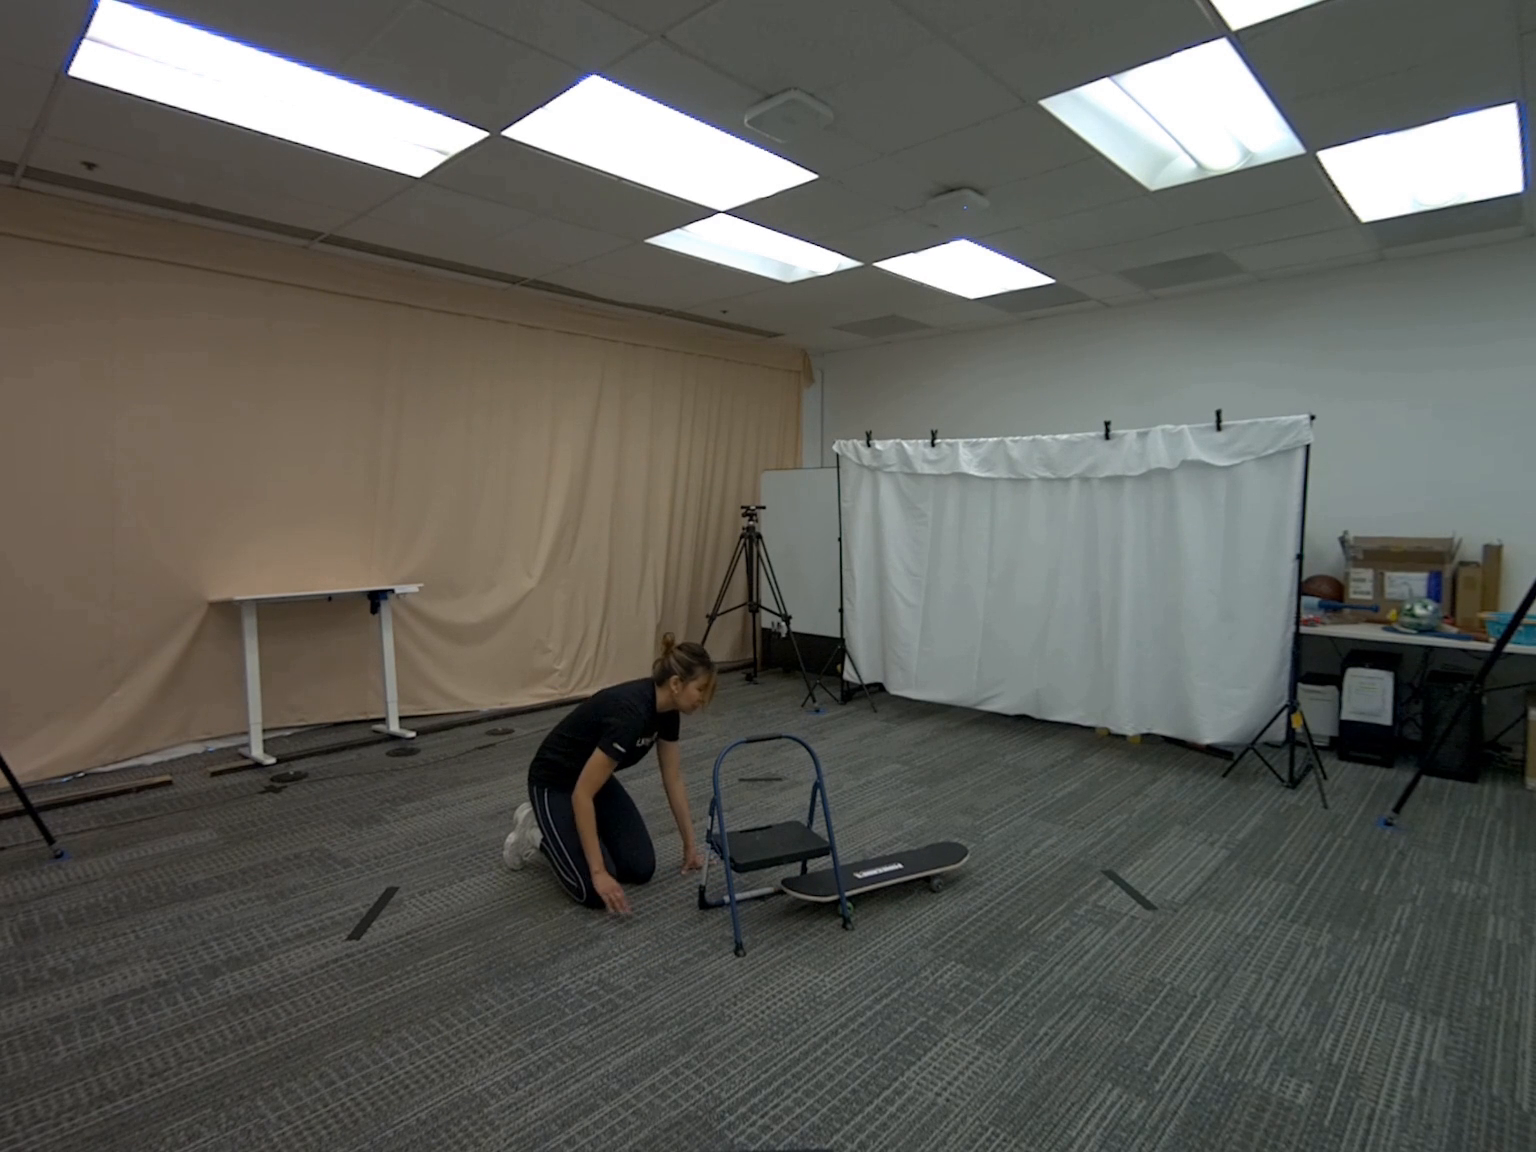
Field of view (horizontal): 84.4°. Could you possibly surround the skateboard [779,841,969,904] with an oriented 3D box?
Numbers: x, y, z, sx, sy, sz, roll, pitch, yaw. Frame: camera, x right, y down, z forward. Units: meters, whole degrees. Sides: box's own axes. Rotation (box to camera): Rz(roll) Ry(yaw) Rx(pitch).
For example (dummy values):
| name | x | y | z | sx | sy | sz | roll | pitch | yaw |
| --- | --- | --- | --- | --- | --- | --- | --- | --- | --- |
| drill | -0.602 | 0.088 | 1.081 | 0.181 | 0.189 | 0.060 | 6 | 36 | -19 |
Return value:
| name | x | y | z | sx | sy | sz | roll | pitch | yaw |
| --- | --- | --- | --- | --- | --- | --- | --- | --- | --- |
| skateboard | 0.395 | 1.084 | 3.003 | 0.767 | 0.110 | 0.198 | -1 | 5 | -25 |
